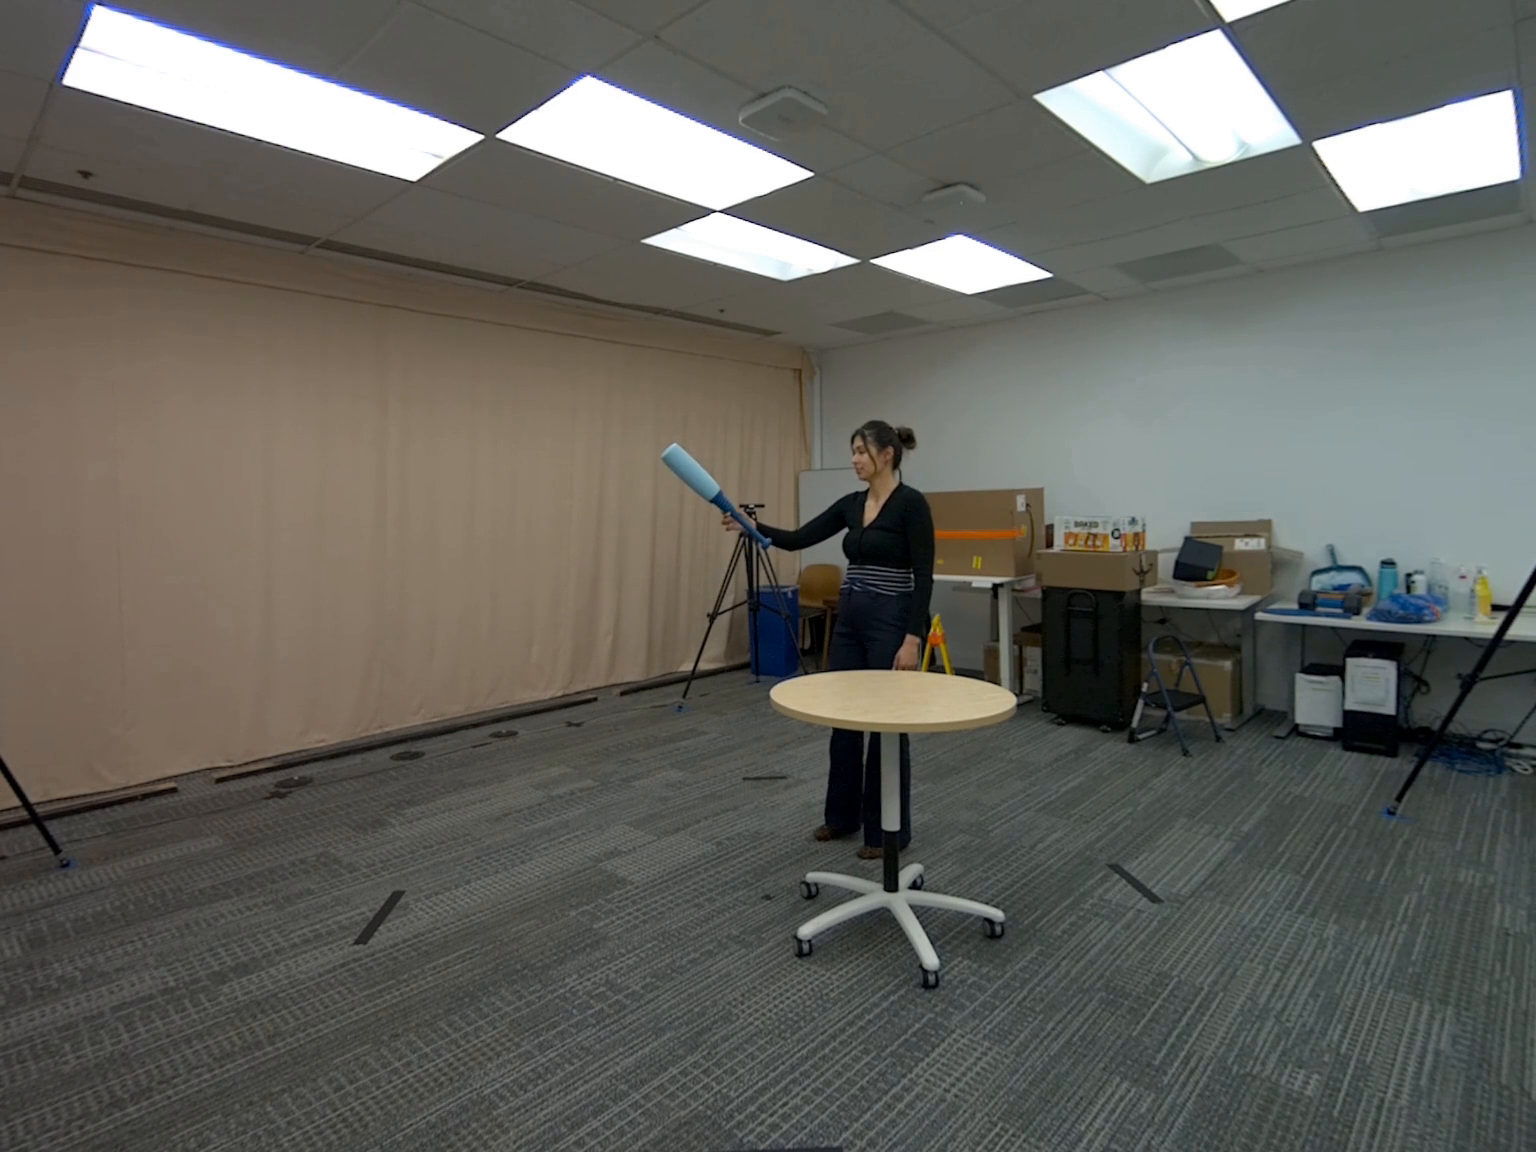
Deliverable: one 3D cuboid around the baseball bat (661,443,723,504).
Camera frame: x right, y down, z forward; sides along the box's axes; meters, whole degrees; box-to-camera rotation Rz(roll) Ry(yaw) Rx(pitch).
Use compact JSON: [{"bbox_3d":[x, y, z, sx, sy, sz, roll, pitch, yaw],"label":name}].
[{"bbox_3d":[-0.193,-0.299,3.225,0.537,0.089,0.090,44,-5,-8],"label":"baseball bat"}]
